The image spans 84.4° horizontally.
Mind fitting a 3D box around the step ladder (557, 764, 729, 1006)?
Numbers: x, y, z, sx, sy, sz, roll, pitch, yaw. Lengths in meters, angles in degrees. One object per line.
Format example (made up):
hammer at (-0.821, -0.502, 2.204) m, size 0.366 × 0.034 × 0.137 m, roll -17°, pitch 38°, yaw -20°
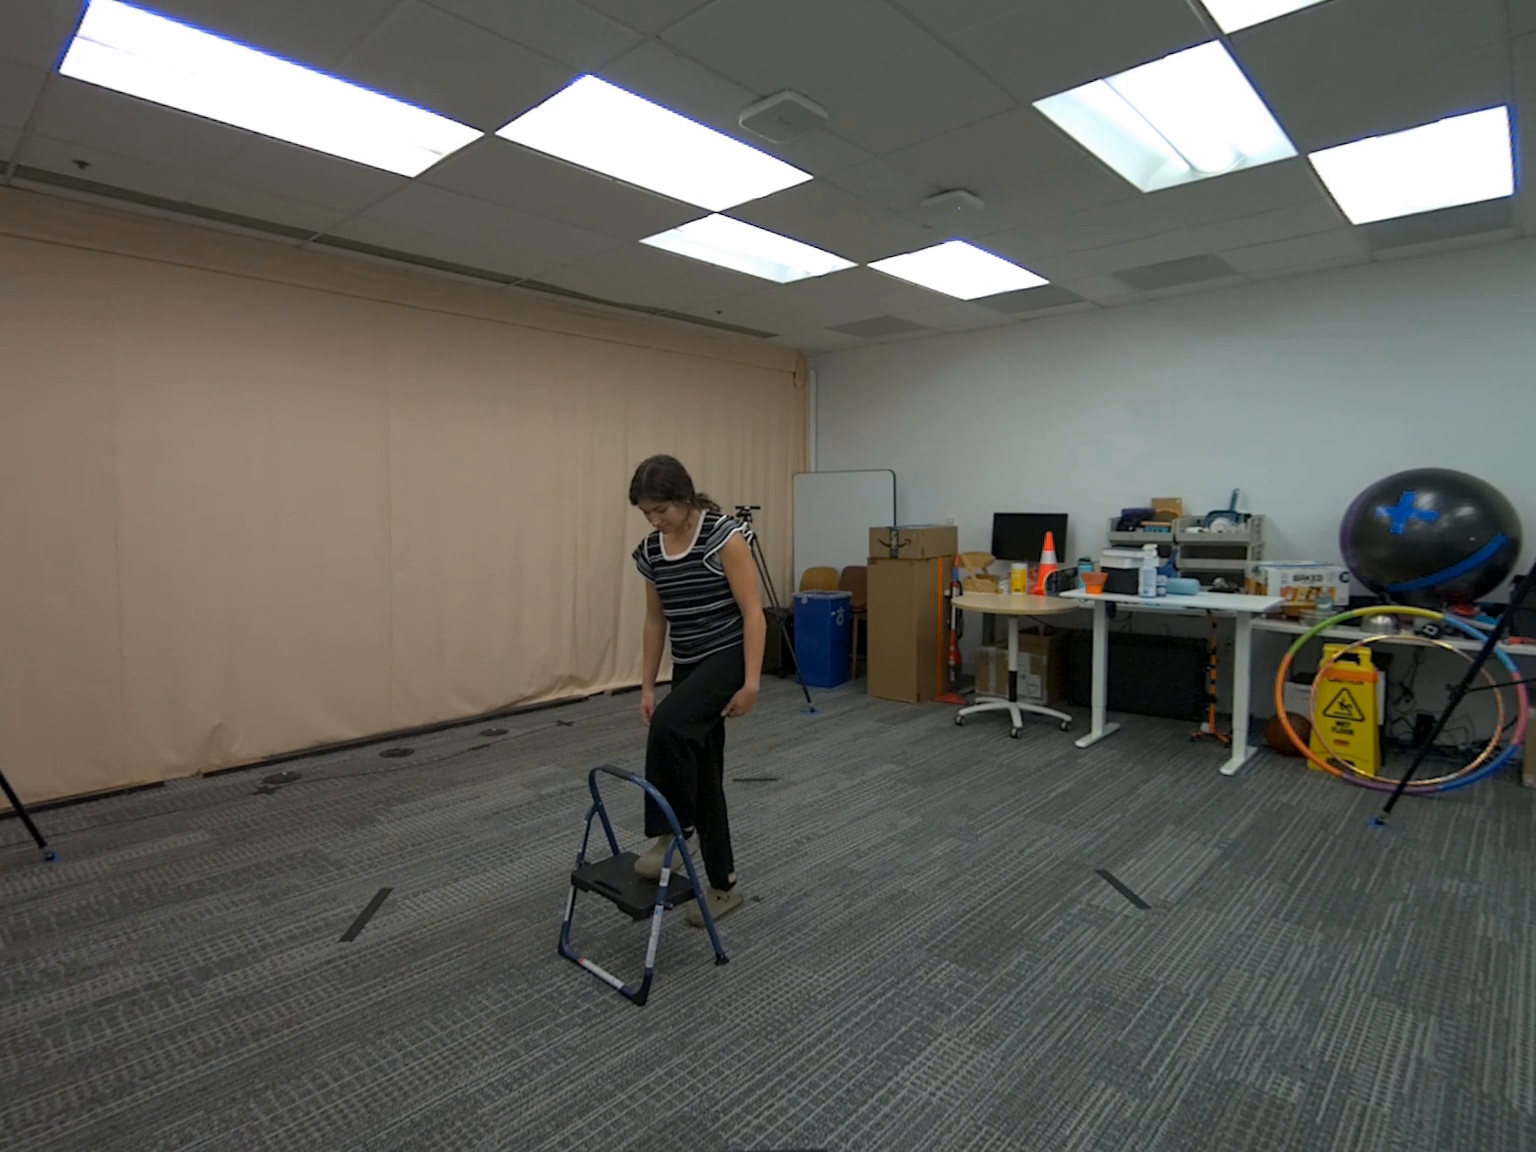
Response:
step ladder at (-0.394, 0.879, 2.586) m, size 0.445 × 0.605 × 0.338 m, roll 3°, pitch 4°, yaw 43°
